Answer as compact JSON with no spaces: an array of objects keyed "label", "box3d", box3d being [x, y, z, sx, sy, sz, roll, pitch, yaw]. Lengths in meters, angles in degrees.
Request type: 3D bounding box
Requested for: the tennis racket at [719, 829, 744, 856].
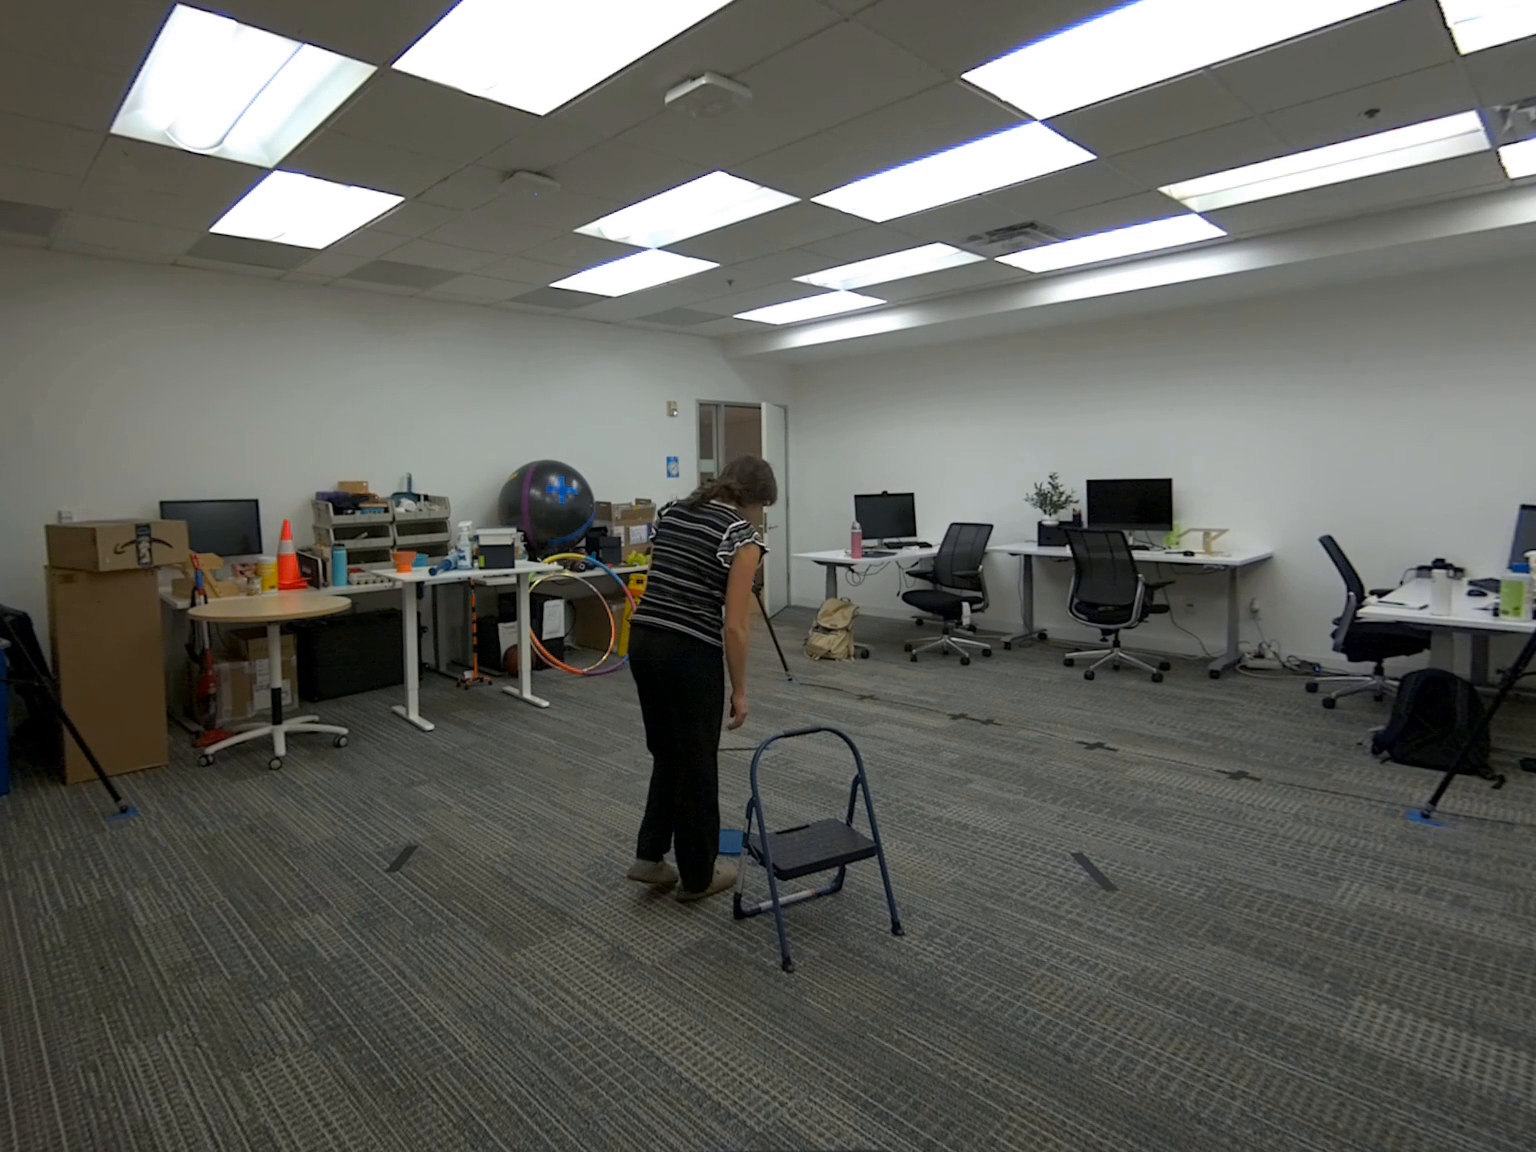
[{"label":"tennis racket","box3d":[-0.068,1.015,3.237,0.443,0.031,0.209,0,6,27]}]
